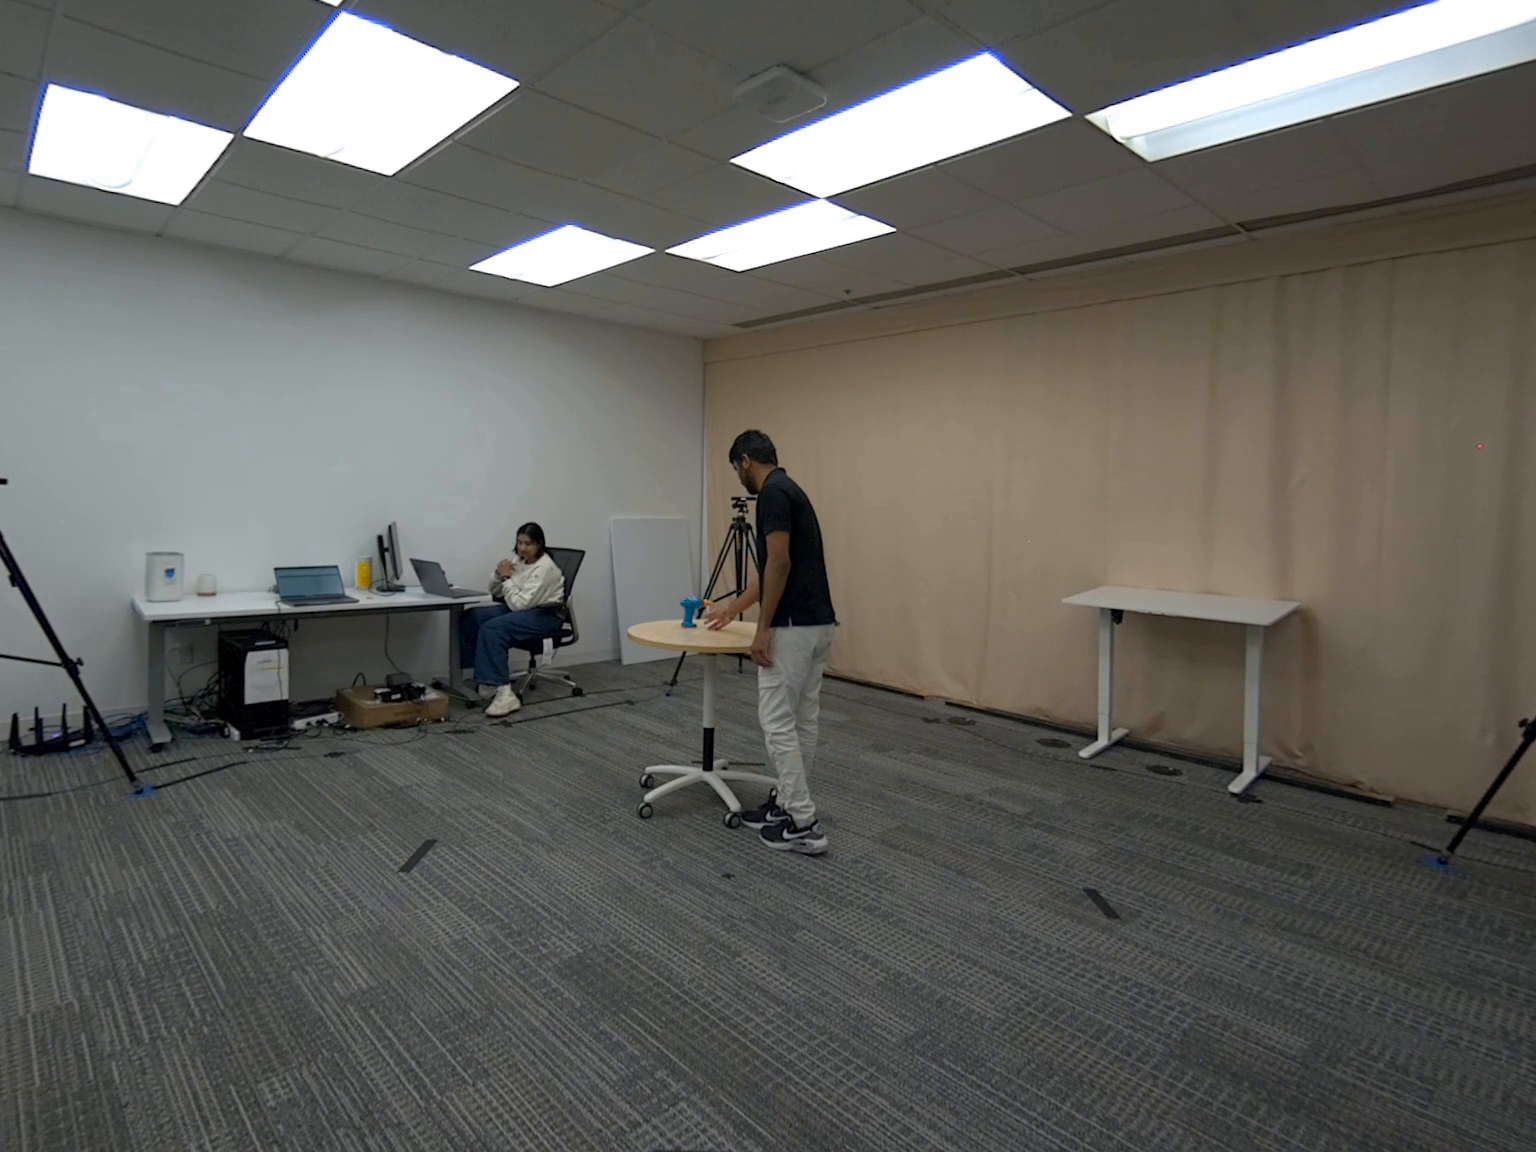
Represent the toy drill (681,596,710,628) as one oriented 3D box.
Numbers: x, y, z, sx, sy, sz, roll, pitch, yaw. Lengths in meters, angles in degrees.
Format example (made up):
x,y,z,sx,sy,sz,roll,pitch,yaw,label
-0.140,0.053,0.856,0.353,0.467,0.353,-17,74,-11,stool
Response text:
x,y,z,sx,sy,sz,roll,pitch,yaw,label
-0.339,0.169,3.985,0.167,0.146,0.062,3,-1,-19,toy drill
